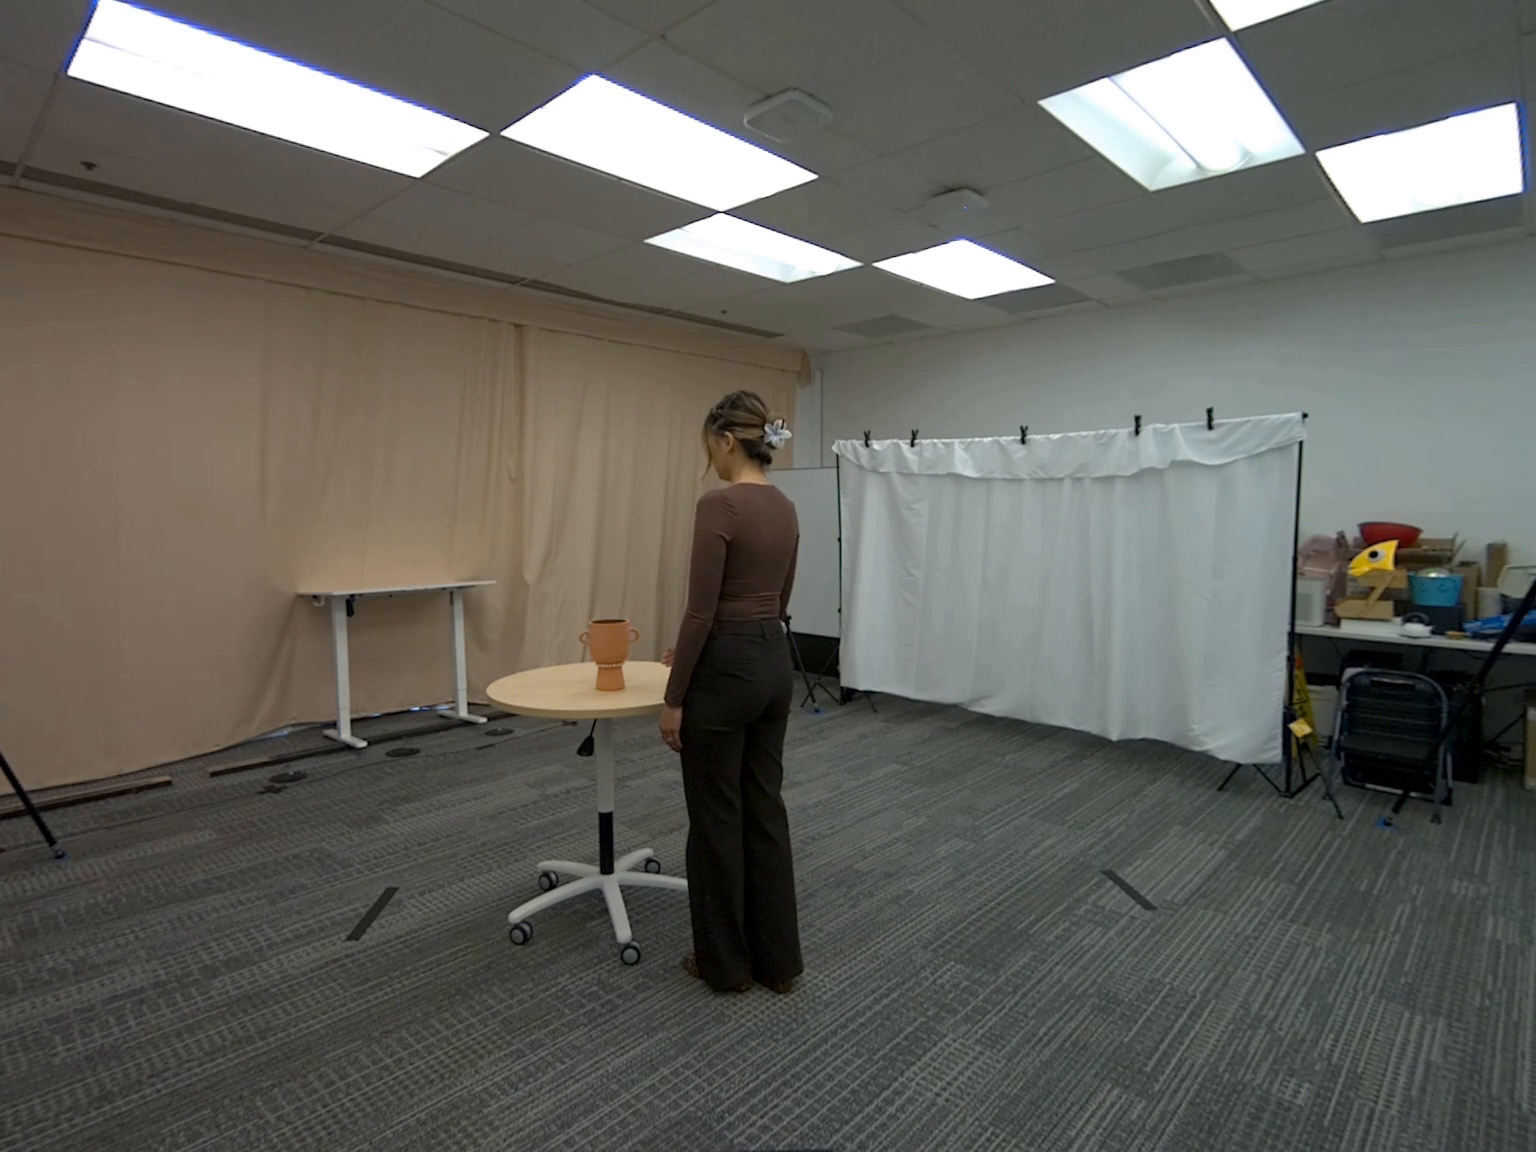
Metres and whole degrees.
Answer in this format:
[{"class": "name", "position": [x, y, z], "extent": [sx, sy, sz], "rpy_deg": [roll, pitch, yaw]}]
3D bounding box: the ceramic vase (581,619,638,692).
[{"class": "ceramic vase", "position": [-0.520, 0.262, 2.758], "extent": [0.162, 0.219, 0.132], "rpy_deg": [-1, 4, 21]}]
